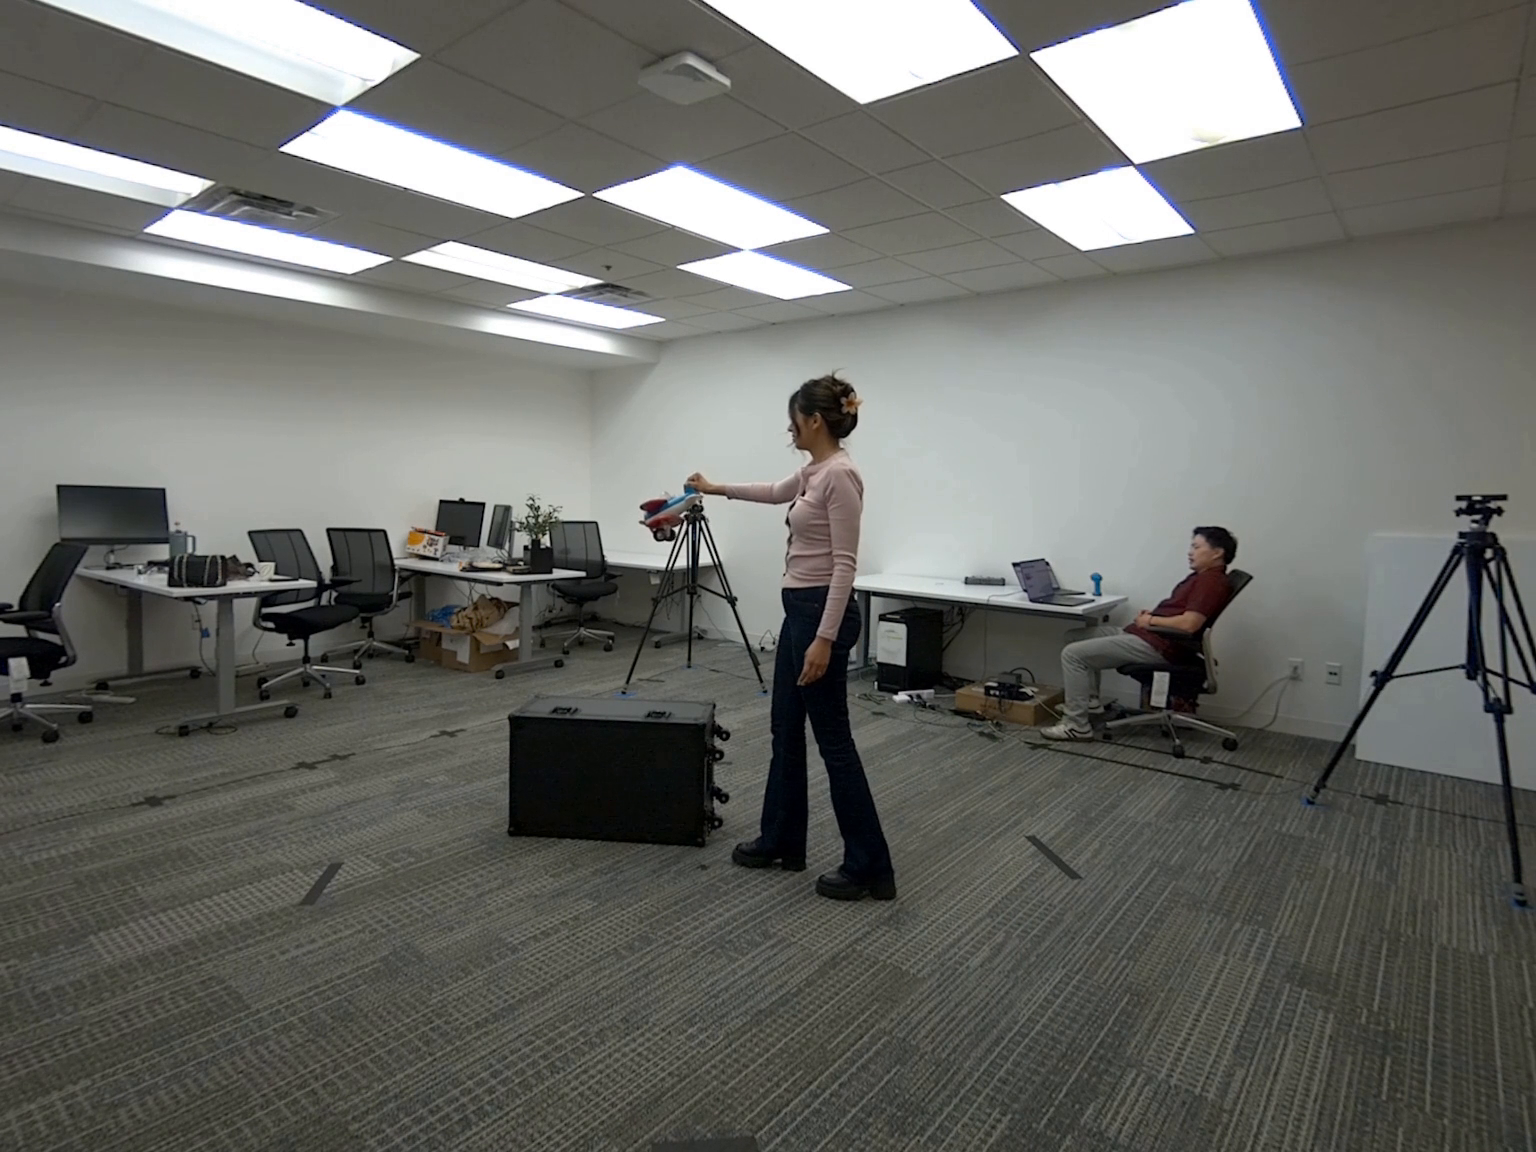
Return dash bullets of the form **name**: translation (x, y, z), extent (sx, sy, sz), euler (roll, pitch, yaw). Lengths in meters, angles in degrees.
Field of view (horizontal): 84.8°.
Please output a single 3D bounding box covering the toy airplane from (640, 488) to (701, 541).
- **toy airplane**: translation (-0.384, -0.260, 3.413), extent (0.258, 0.159, 0.247), euler (-35, -12, -11)
